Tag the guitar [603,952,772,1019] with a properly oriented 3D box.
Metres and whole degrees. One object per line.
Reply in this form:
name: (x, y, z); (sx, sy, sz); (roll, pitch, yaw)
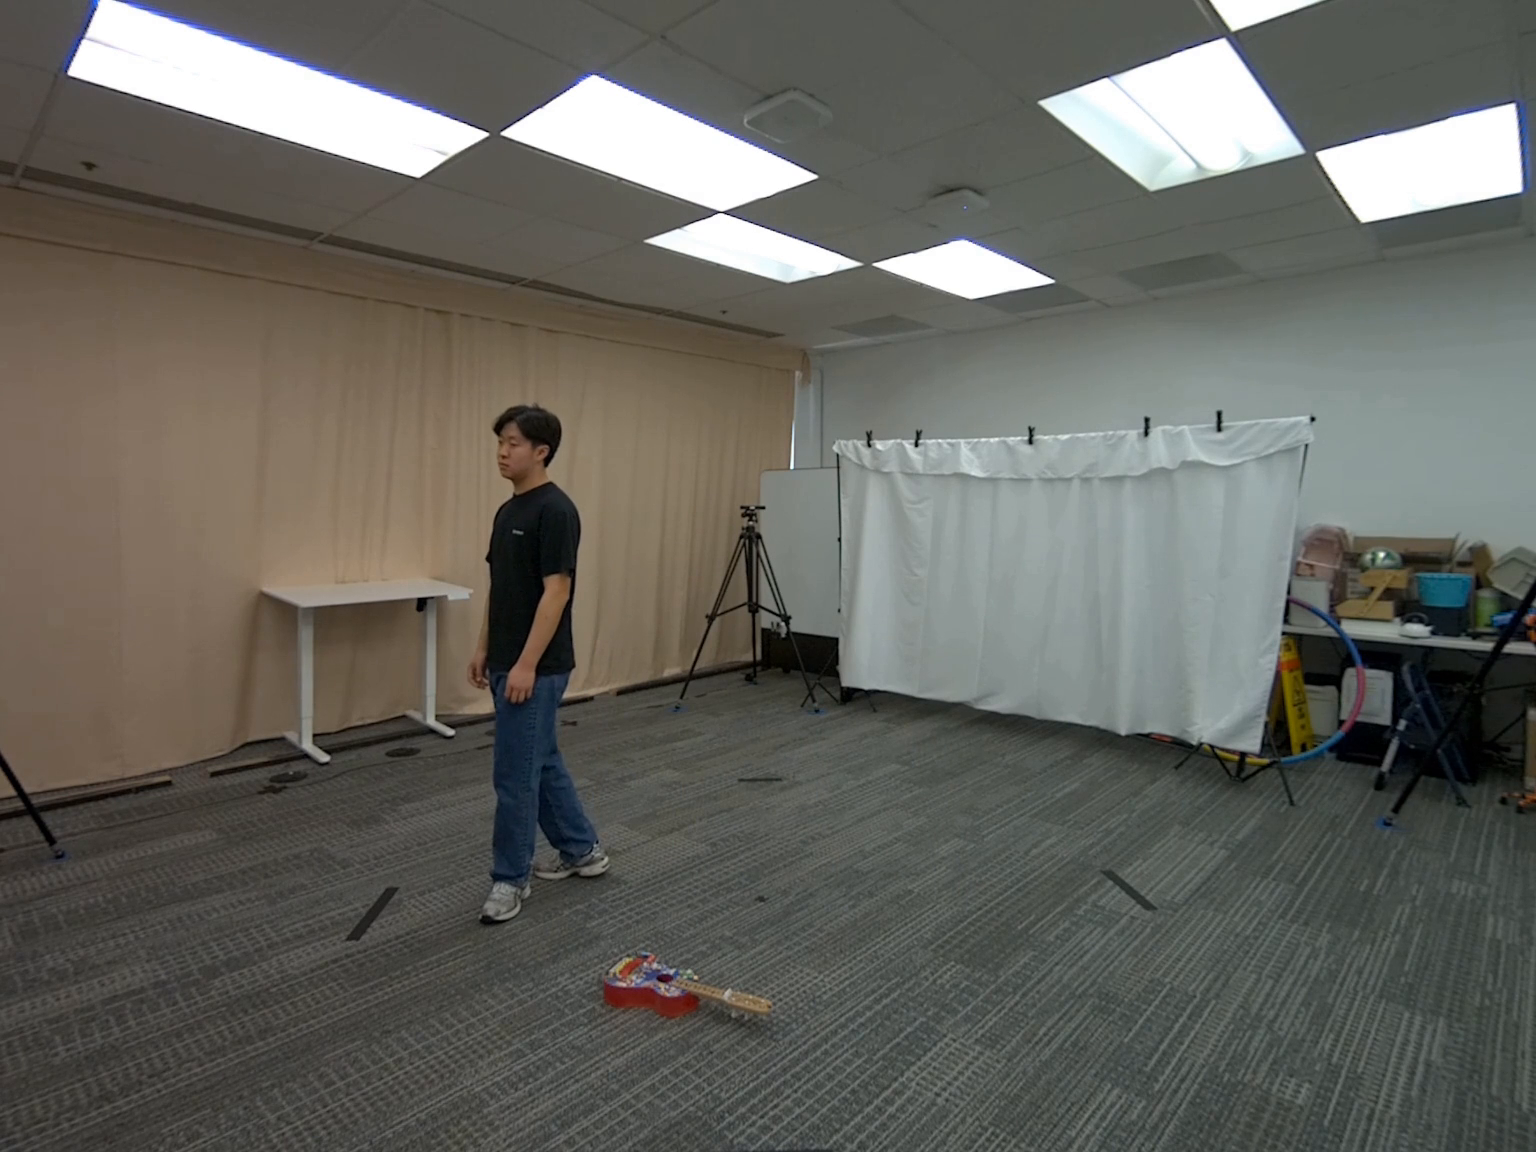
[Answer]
guitar: (-0.235, 1.168, 2.319); (0.513, 0.070, 0.187); (3, 5, 35)
